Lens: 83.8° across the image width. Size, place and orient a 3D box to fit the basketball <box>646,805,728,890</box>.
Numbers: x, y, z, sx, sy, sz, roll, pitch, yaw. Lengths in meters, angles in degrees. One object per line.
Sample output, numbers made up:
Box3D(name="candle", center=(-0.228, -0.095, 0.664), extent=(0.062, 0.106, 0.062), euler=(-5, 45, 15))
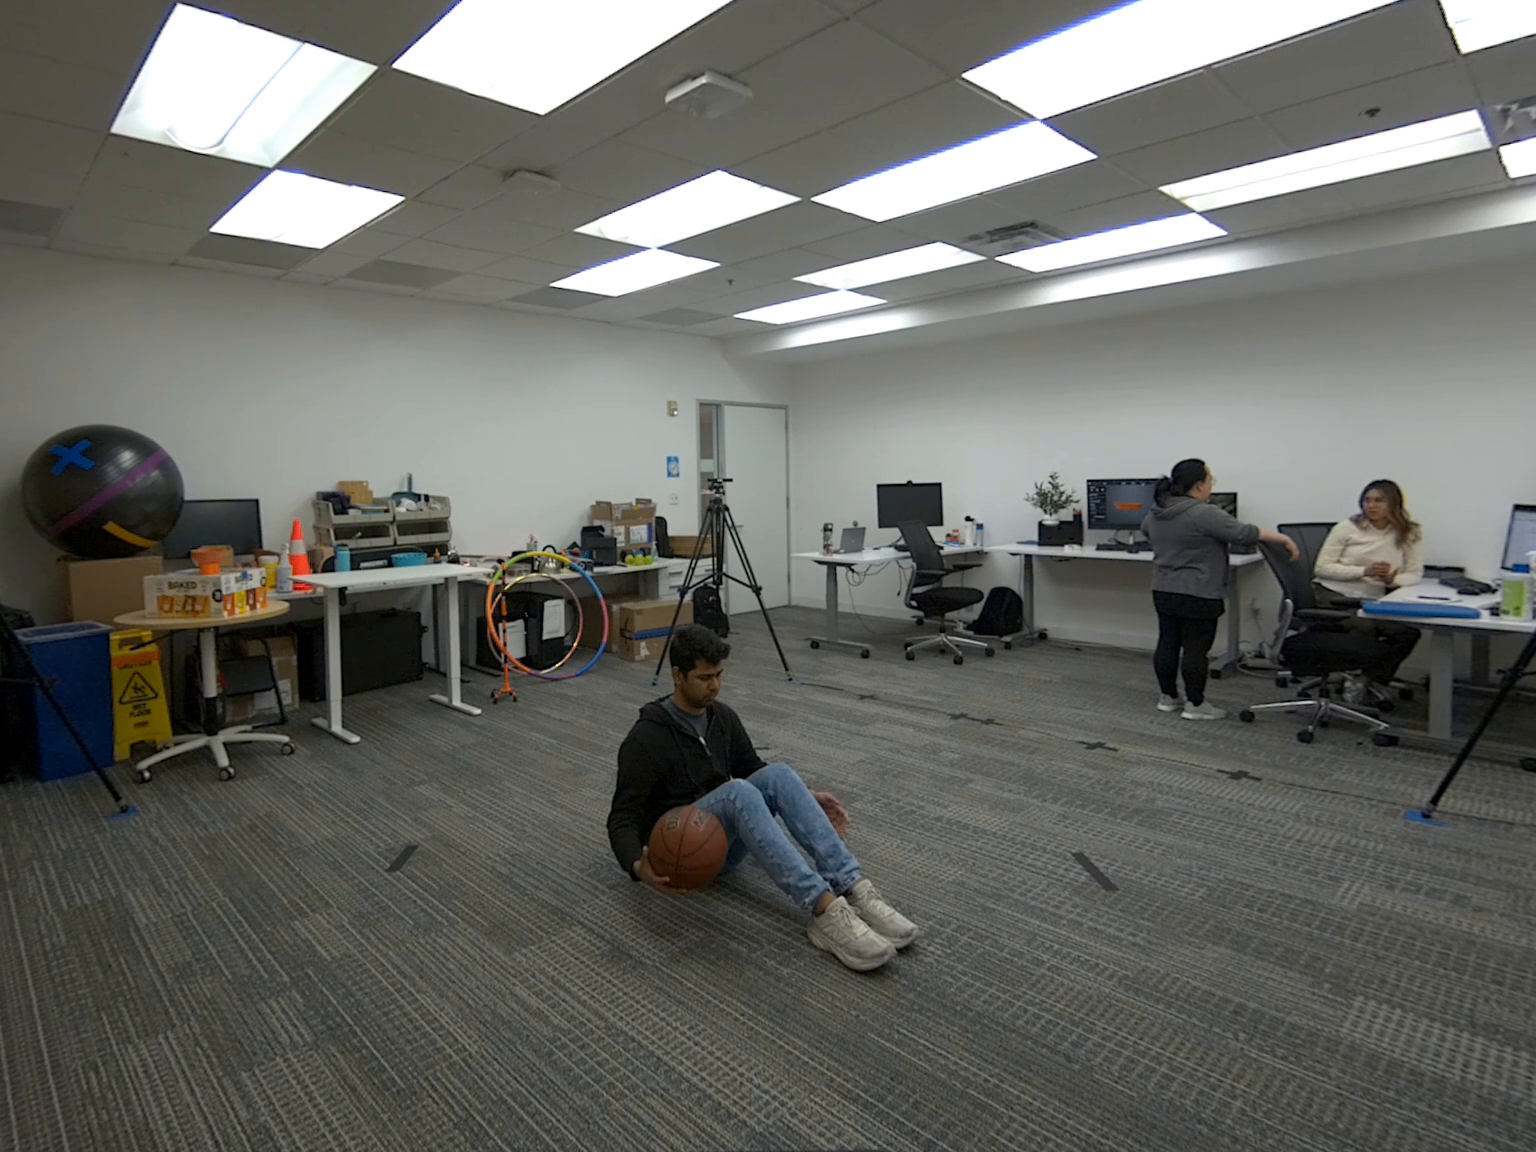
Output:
Box3D(name="basketball", center=(-0.229, 0.817, 2.599), extent=(0.236, 0.235, 0.237), euler=(-1, 5, -2))
